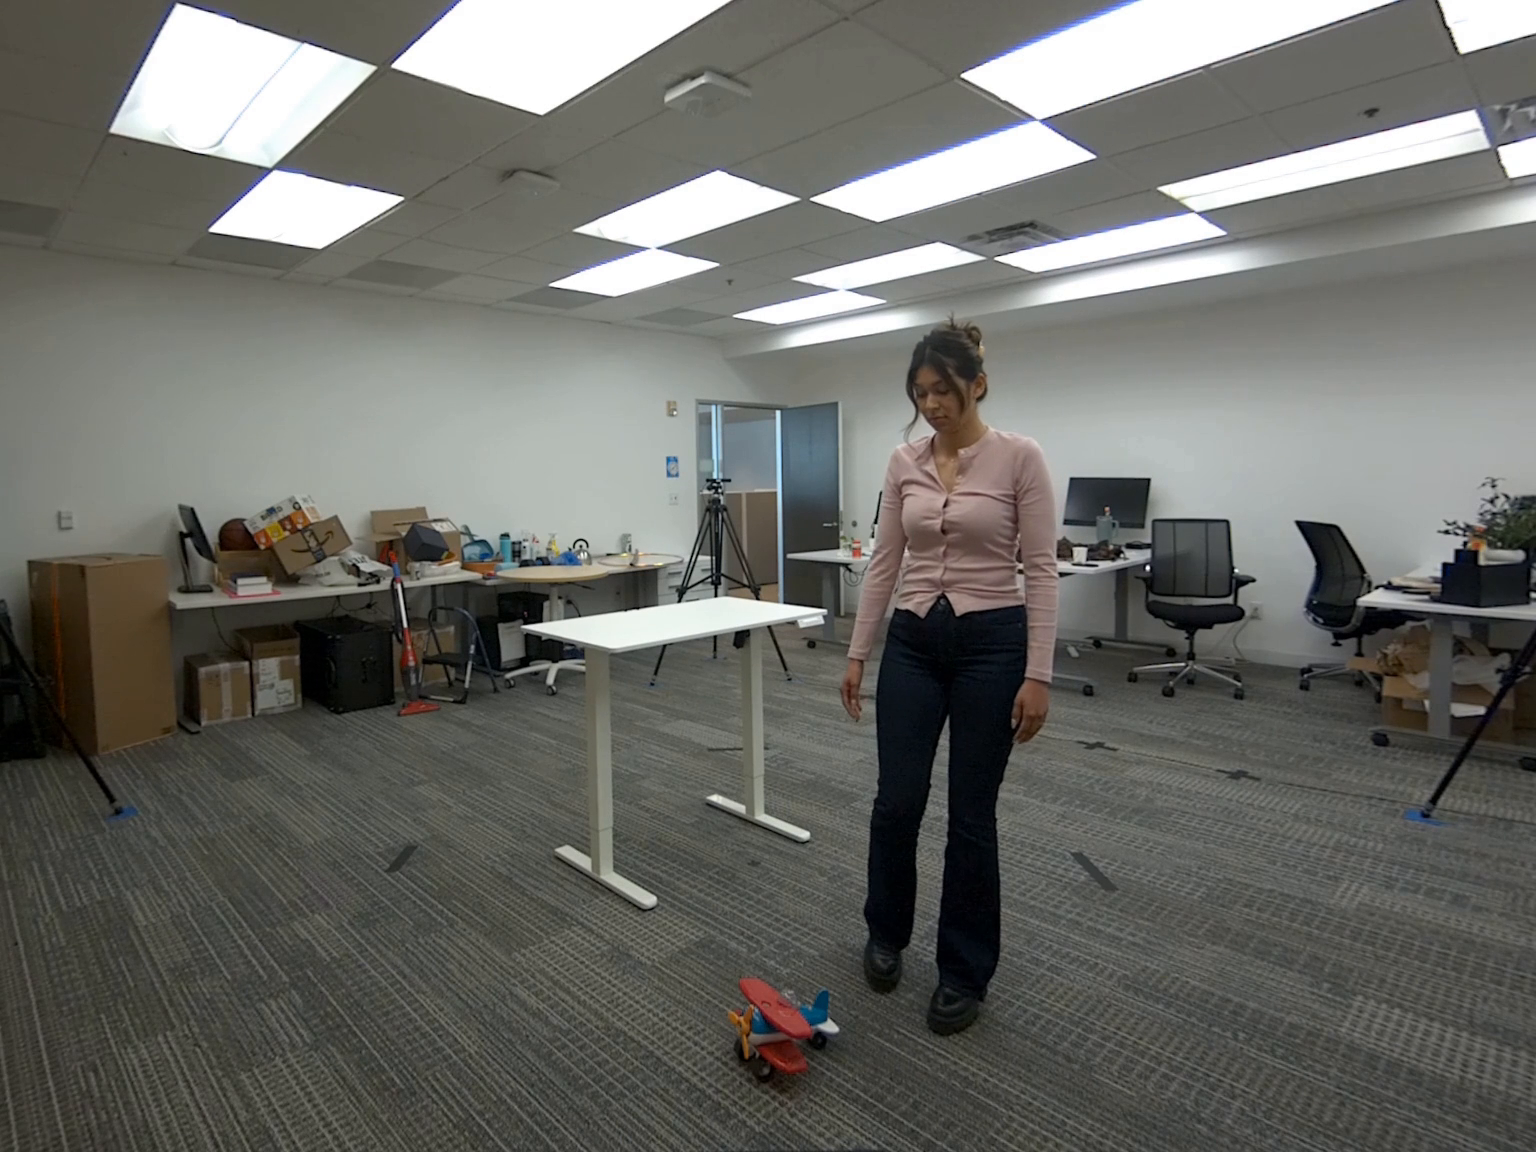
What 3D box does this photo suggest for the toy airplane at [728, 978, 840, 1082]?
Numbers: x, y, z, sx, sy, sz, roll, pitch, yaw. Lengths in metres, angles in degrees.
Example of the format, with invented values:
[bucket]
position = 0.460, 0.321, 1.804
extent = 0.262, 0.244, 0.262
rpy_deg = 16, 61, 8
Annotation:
[toy airplane]
position = 0.034, 1.097, 2.068
extent = 0.258, 0.155, 0.254
rpy_deg = 2, 8, 30
